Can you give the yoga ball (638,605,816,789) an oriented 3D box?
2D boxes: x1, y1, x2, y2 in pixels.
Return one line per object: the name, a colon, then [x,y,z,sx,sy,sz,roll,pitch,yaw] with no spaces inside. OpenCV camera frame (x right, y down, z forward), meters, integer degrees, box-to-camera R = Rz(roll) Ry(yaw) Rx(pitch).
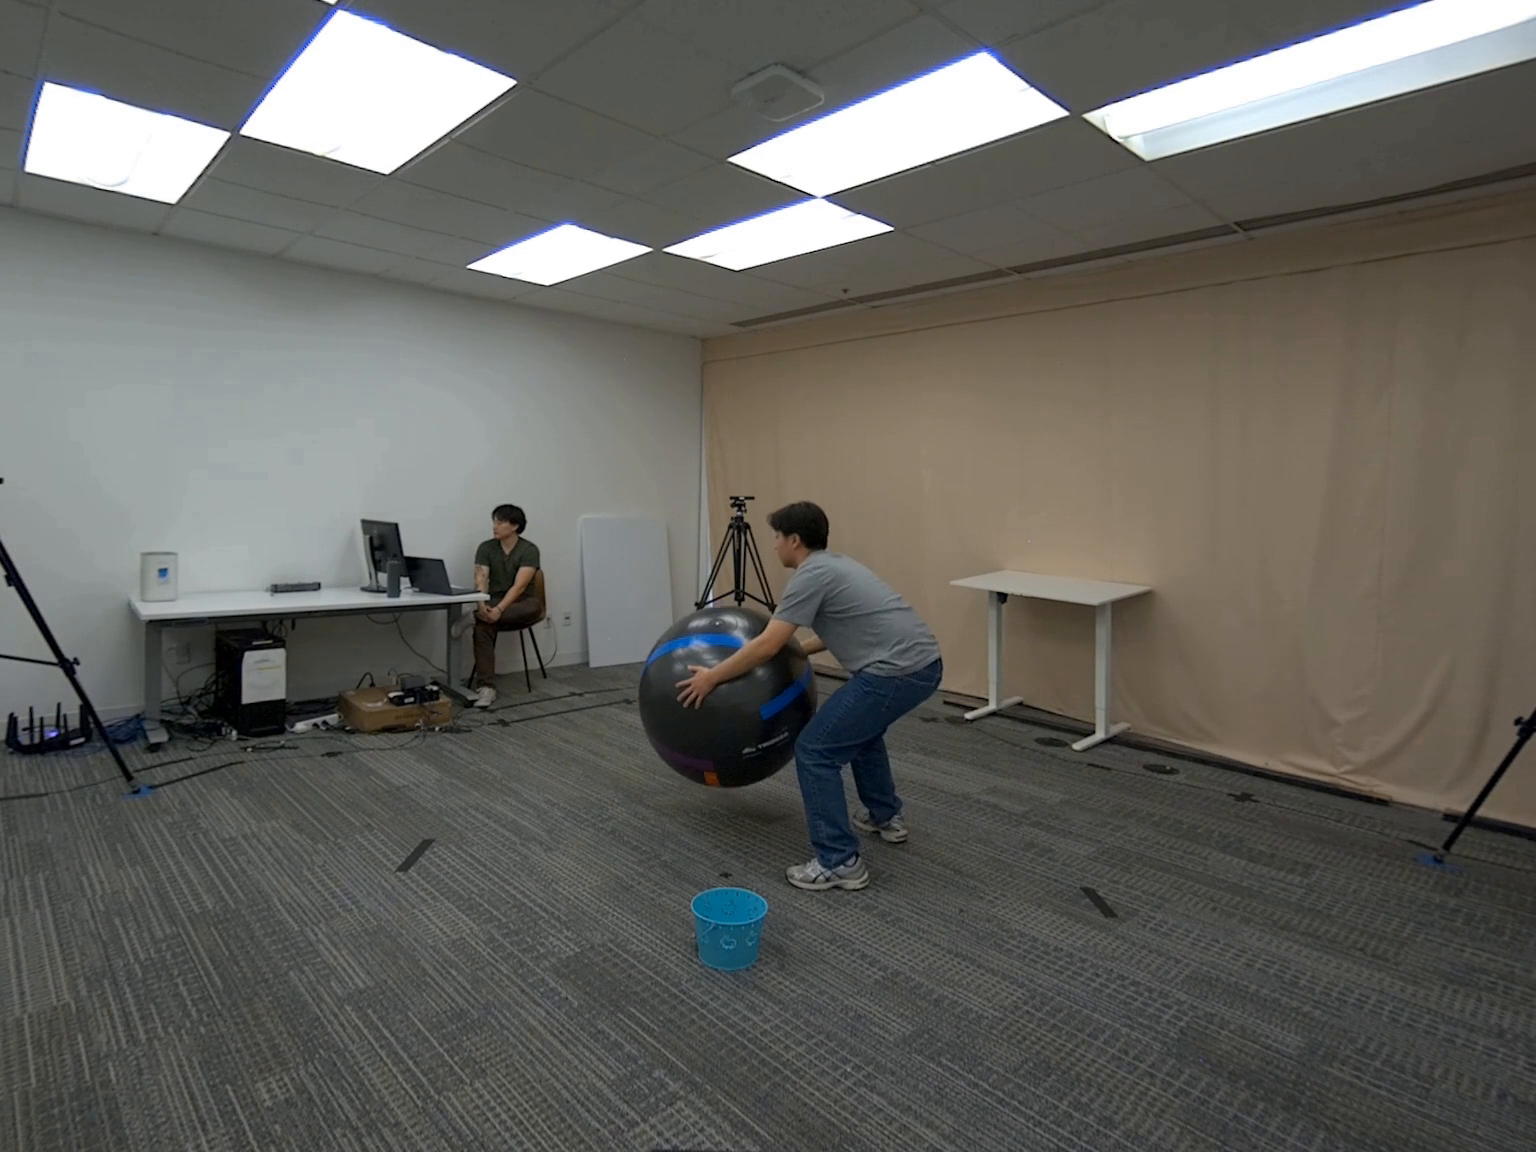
yoga ball: [-0.176,0.509,3.585,0.757,0.756,0.761,1,4,-1]
